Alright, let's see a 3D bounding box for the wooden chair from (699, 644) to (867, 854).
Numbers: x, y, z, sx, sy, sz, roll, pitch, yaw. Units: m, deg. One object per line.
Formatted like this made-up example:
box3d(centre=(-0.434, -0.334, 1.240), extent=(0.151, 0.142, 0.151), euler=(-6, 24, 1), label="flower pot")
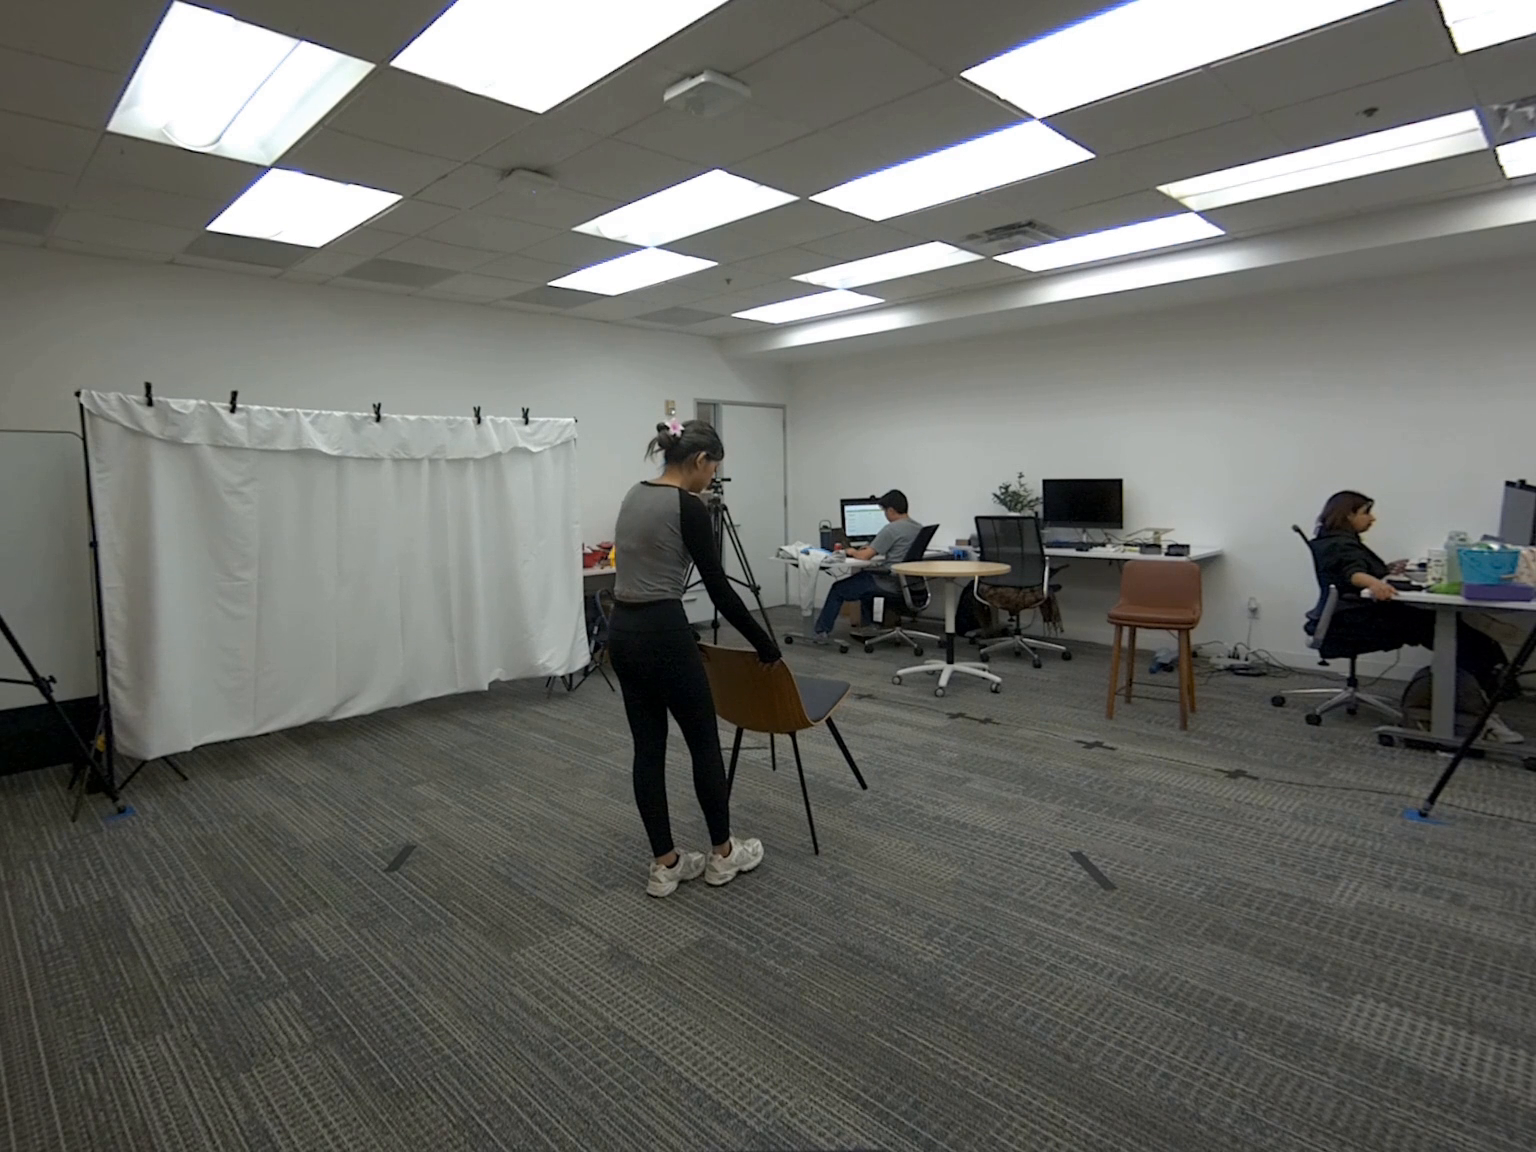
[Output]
box3d(centre=(0.046, 0.543, 3.357), extent=(0.491, 0.859, 0.519), euler=(2, 24, 33), label="wooden chair")
